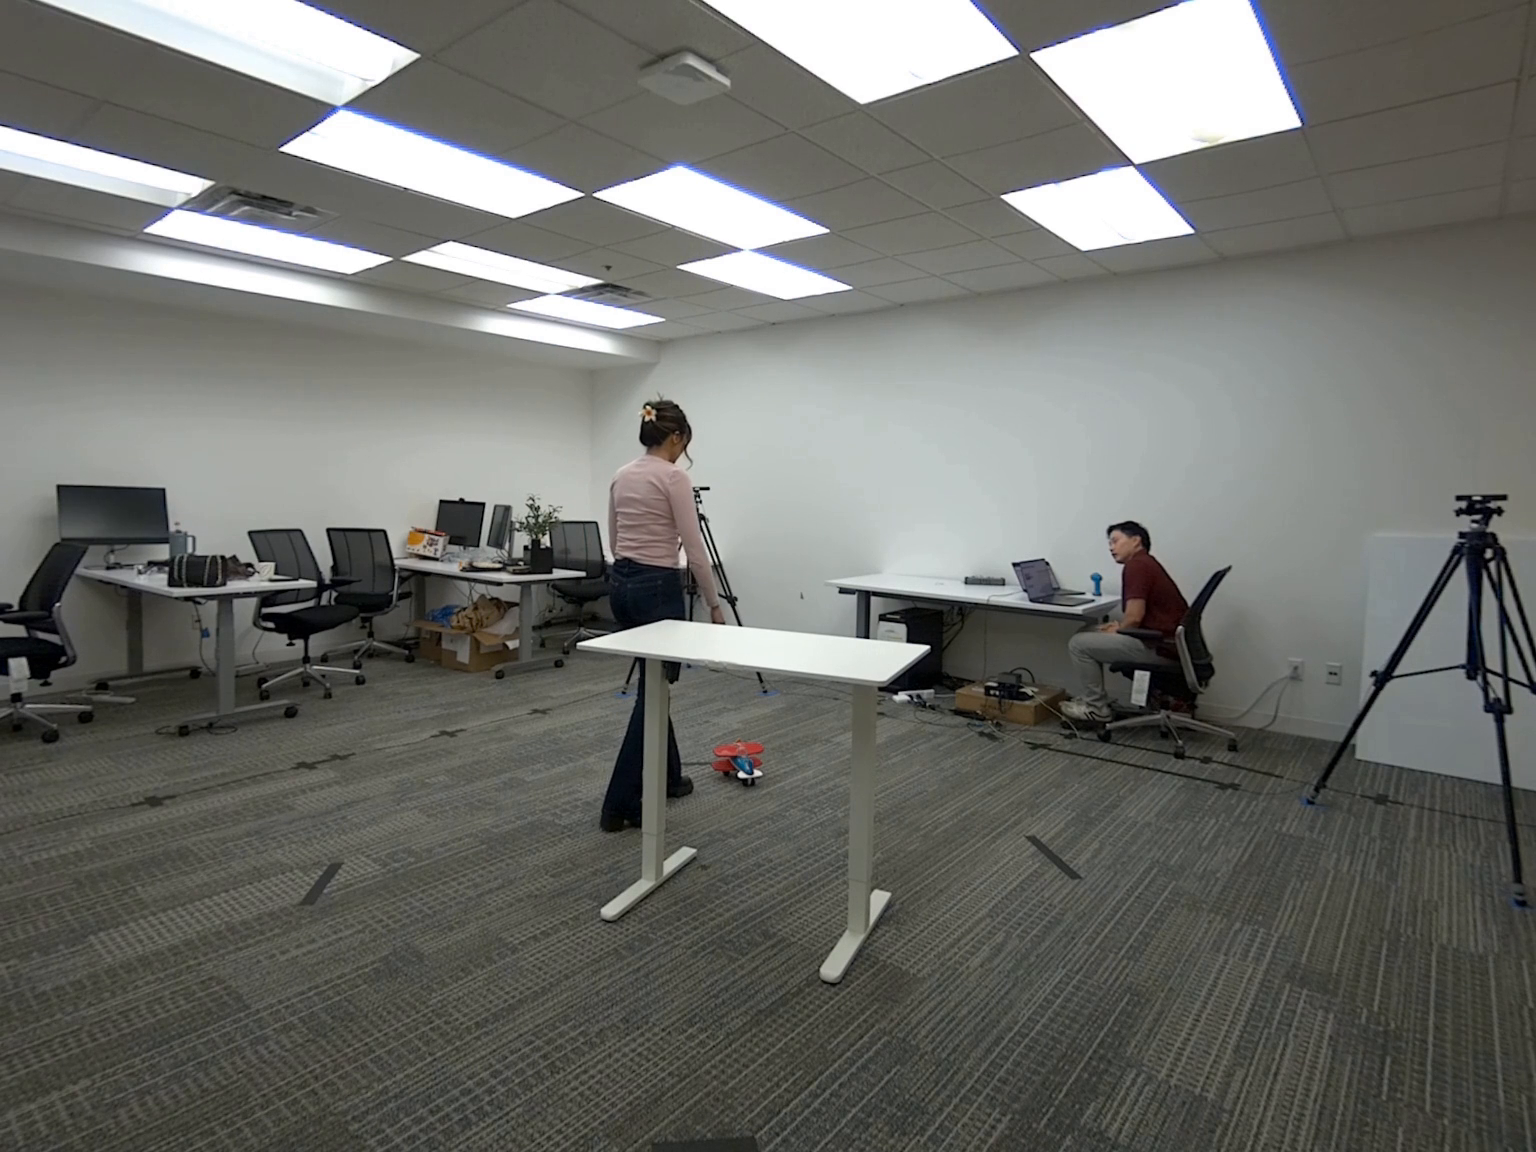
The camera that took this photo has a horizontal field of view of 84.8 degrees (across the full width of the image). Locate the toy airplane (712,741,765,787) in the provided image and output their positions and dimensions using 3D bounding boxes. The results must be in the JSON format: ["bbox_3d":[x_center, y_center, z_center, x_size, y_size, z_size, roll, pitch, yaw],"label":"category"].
[{"bbox_3d":[-0.127,0.899,4.083,0.267,0.156,0.244,3,5,38],"label":"toy airplane"}]
